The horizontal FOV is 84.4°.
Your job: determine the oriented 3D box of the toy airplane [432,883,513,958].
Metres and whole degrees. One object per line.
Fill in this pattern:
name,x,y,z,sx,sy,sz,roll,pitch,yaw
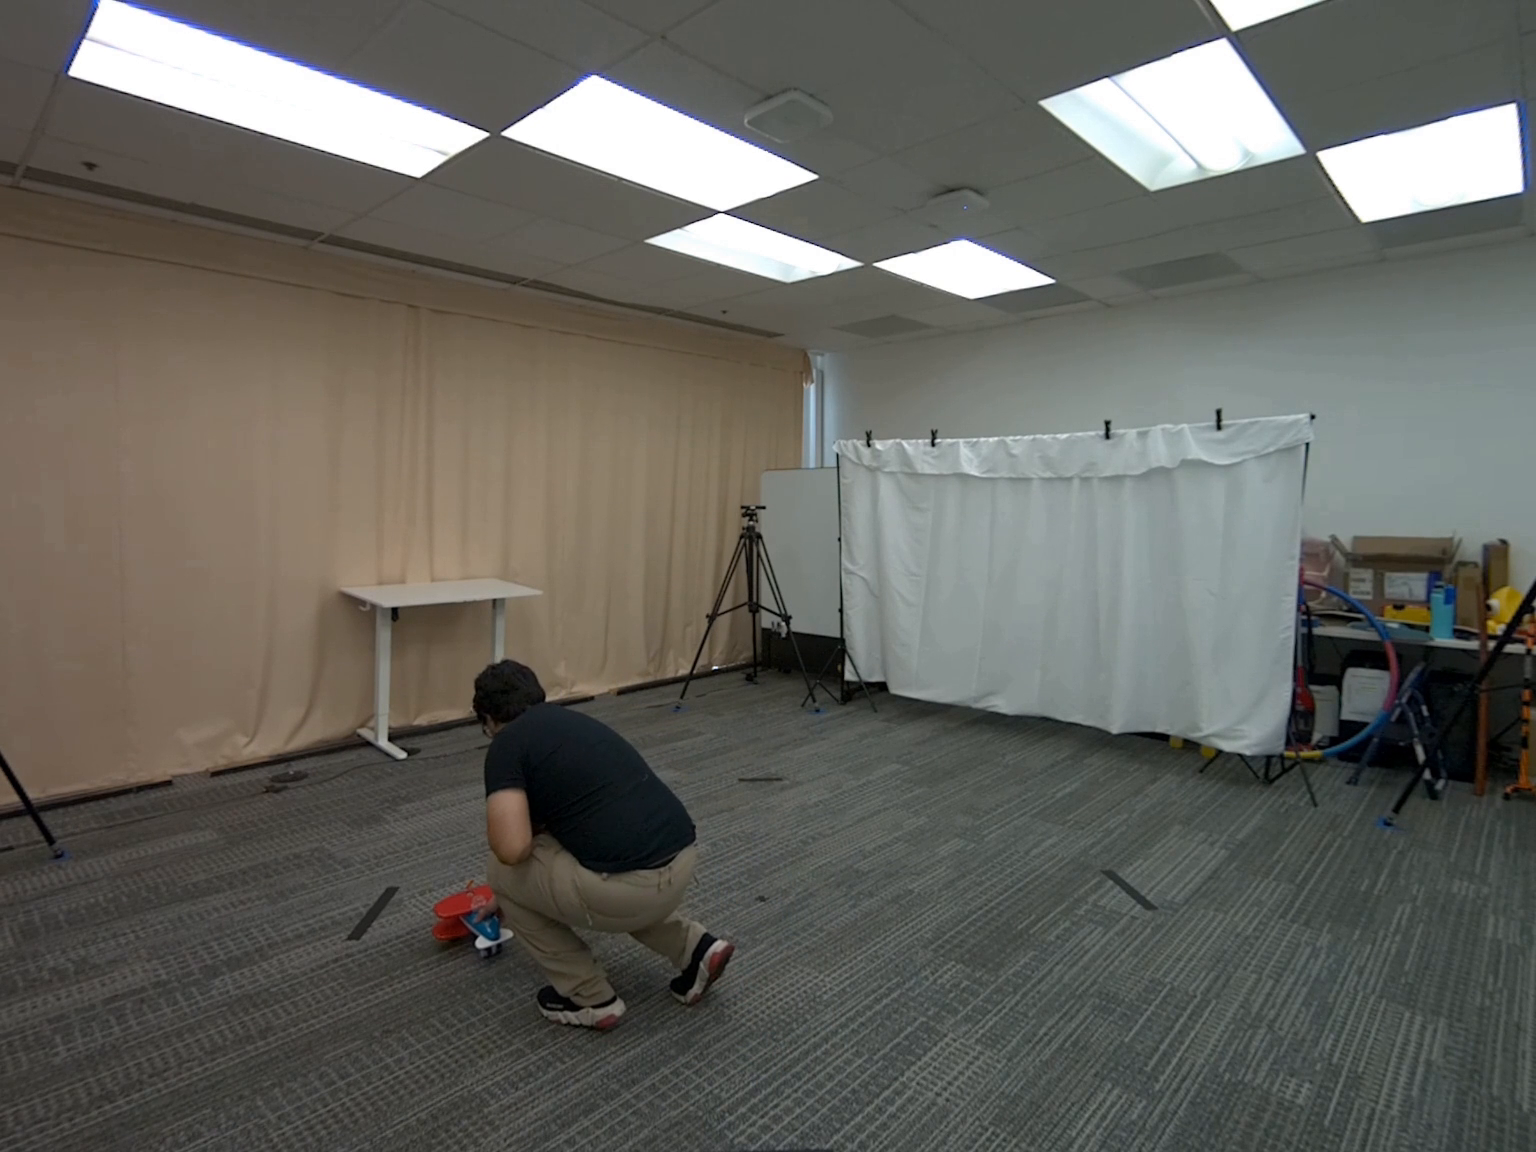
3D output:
toy airplane,-0.919,1.101,2.697,0.264,0.156,0.247,0,4,18
